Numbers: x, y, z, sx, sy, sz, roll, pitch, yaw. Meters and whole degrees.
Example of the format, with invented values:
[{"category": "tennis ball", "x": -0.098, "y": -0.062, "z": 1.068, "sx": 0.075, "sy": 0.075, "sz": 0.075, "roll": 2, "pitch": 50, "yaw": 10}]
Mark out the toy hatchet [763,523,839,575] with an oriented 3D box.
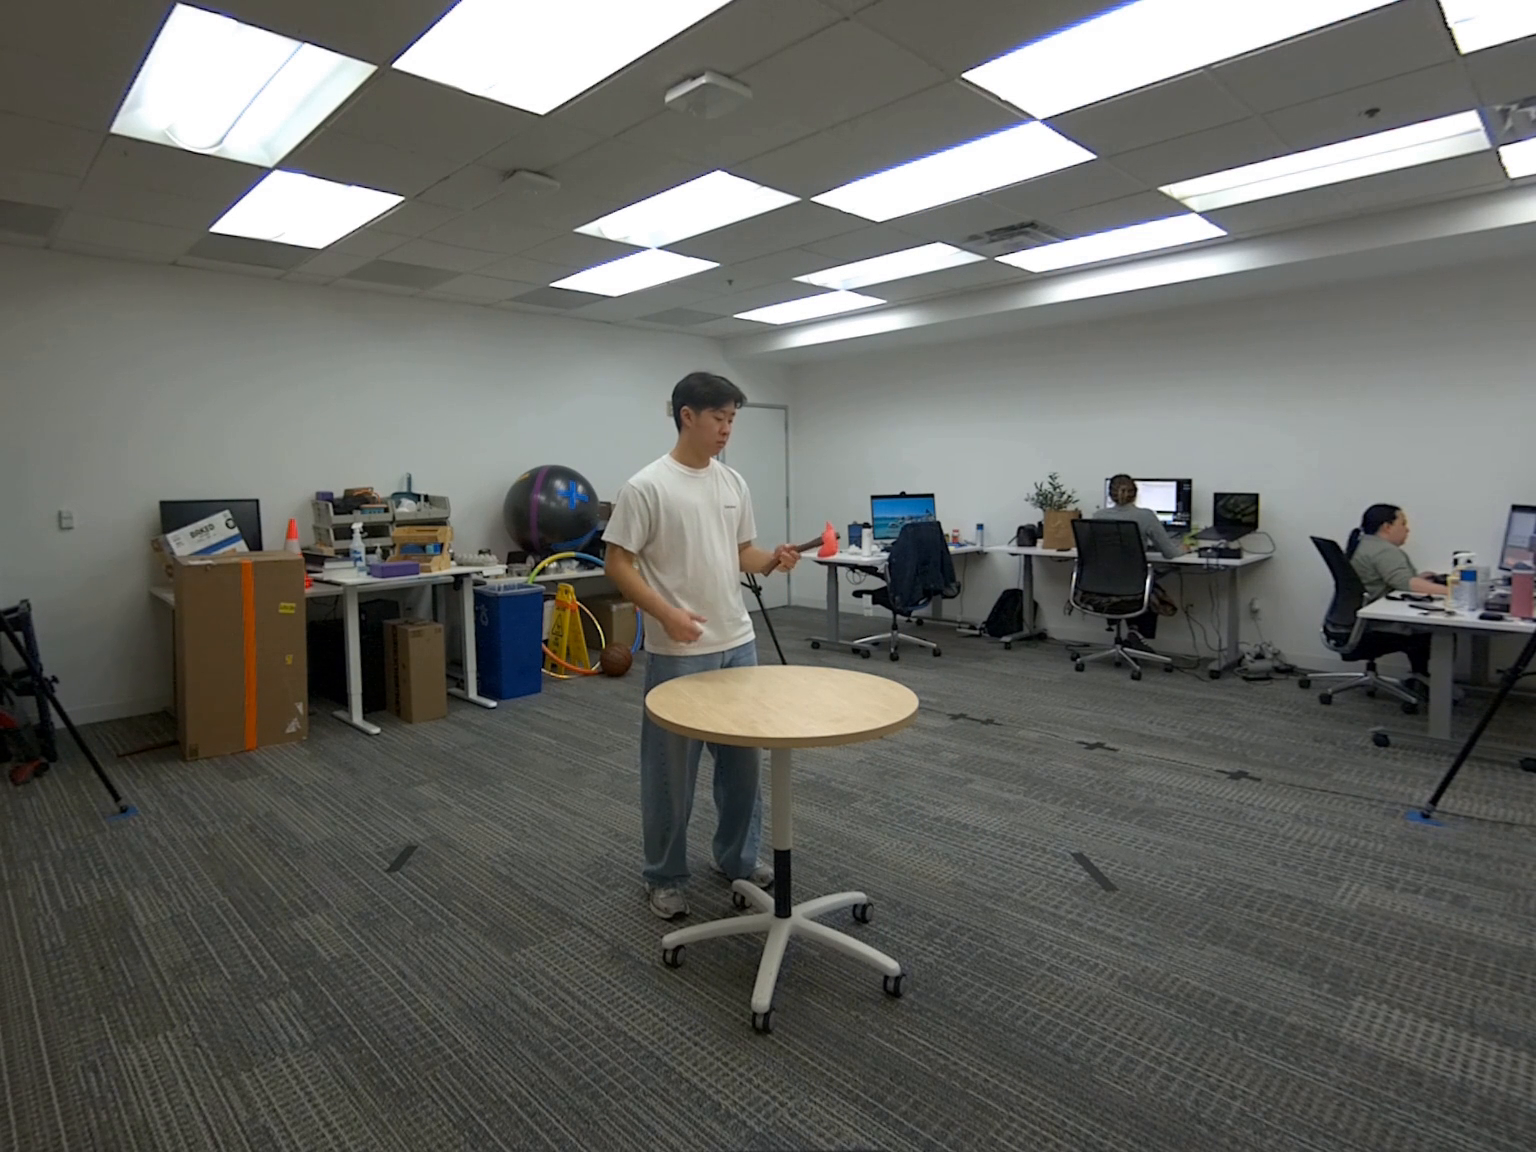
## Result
[{"category": "toy hatchet", "x": 0.099, "y": -0.056, "z": 2.648, "sx": 0.270, "sy": 0.136, "sz": 0.028, "roll": -35, "pitch": -41, "yaw": 6}]
